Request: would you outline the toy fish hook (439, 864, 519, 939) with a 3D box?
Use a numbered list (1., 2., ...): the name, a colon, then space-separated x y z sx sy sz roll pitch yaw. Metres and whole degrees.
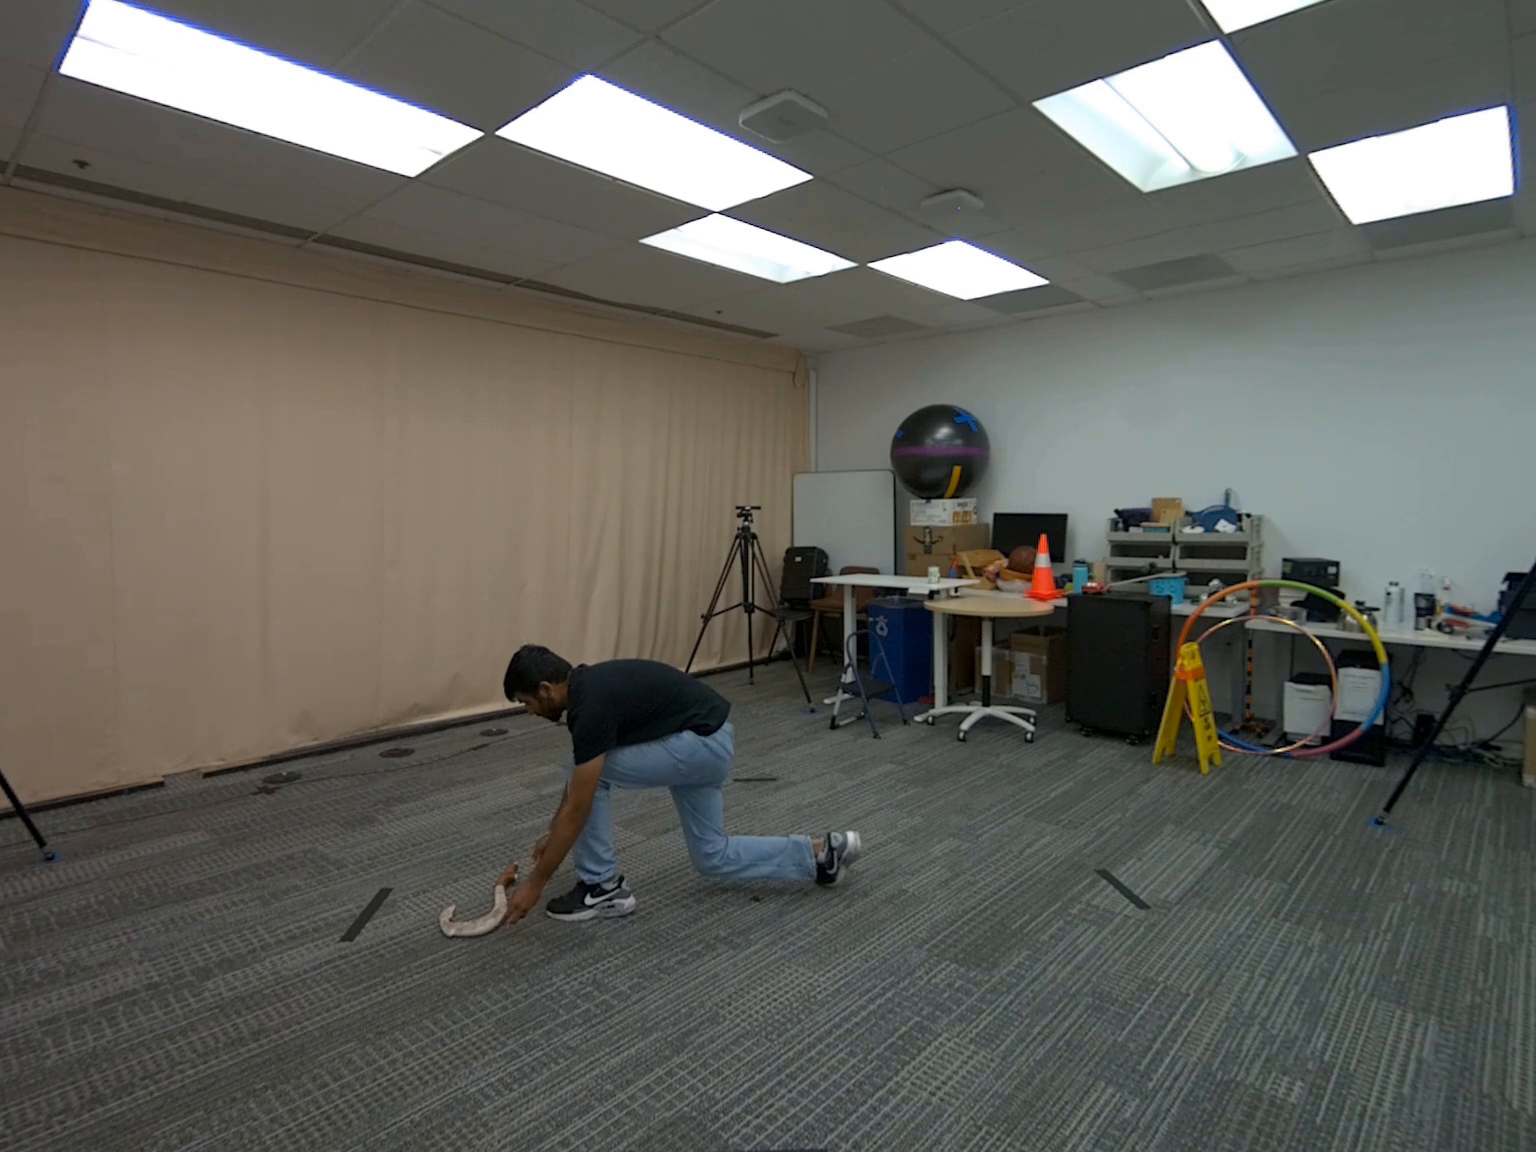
1. toy fish hook: -1.004 1.127 2.972 0.224 0.048 0.509 0 4 -5
